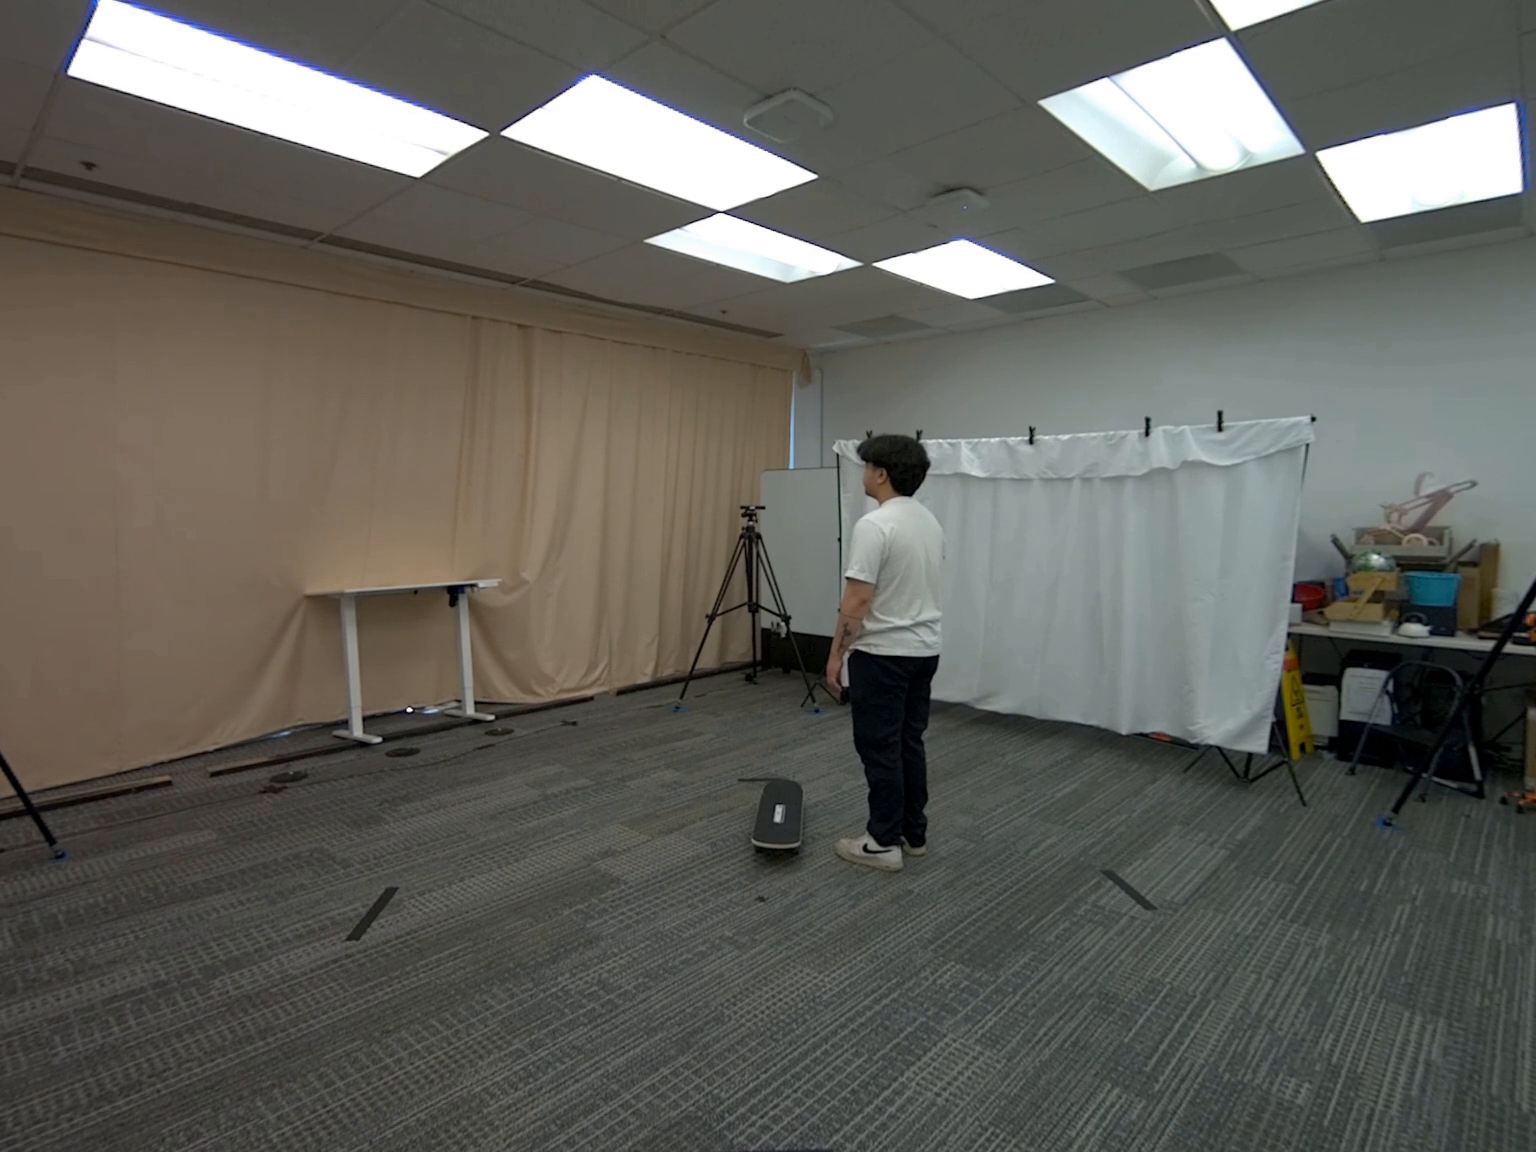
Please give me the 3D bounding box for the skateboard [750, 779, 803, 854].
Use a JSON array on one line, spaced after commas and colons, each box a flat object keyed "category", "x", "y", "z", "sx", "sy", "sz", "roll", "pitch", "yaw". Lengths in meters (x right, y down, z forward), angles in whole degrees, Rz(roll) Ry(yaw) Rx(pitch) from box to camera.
[{"category": "skateboard", "x": 0.048, "y": 1.038, "z": 3.571, "sx": 0.195, "sy": 0.110, "sz": 0.782, "roll": 0, "pitch": 4, "yaw": 4}]
